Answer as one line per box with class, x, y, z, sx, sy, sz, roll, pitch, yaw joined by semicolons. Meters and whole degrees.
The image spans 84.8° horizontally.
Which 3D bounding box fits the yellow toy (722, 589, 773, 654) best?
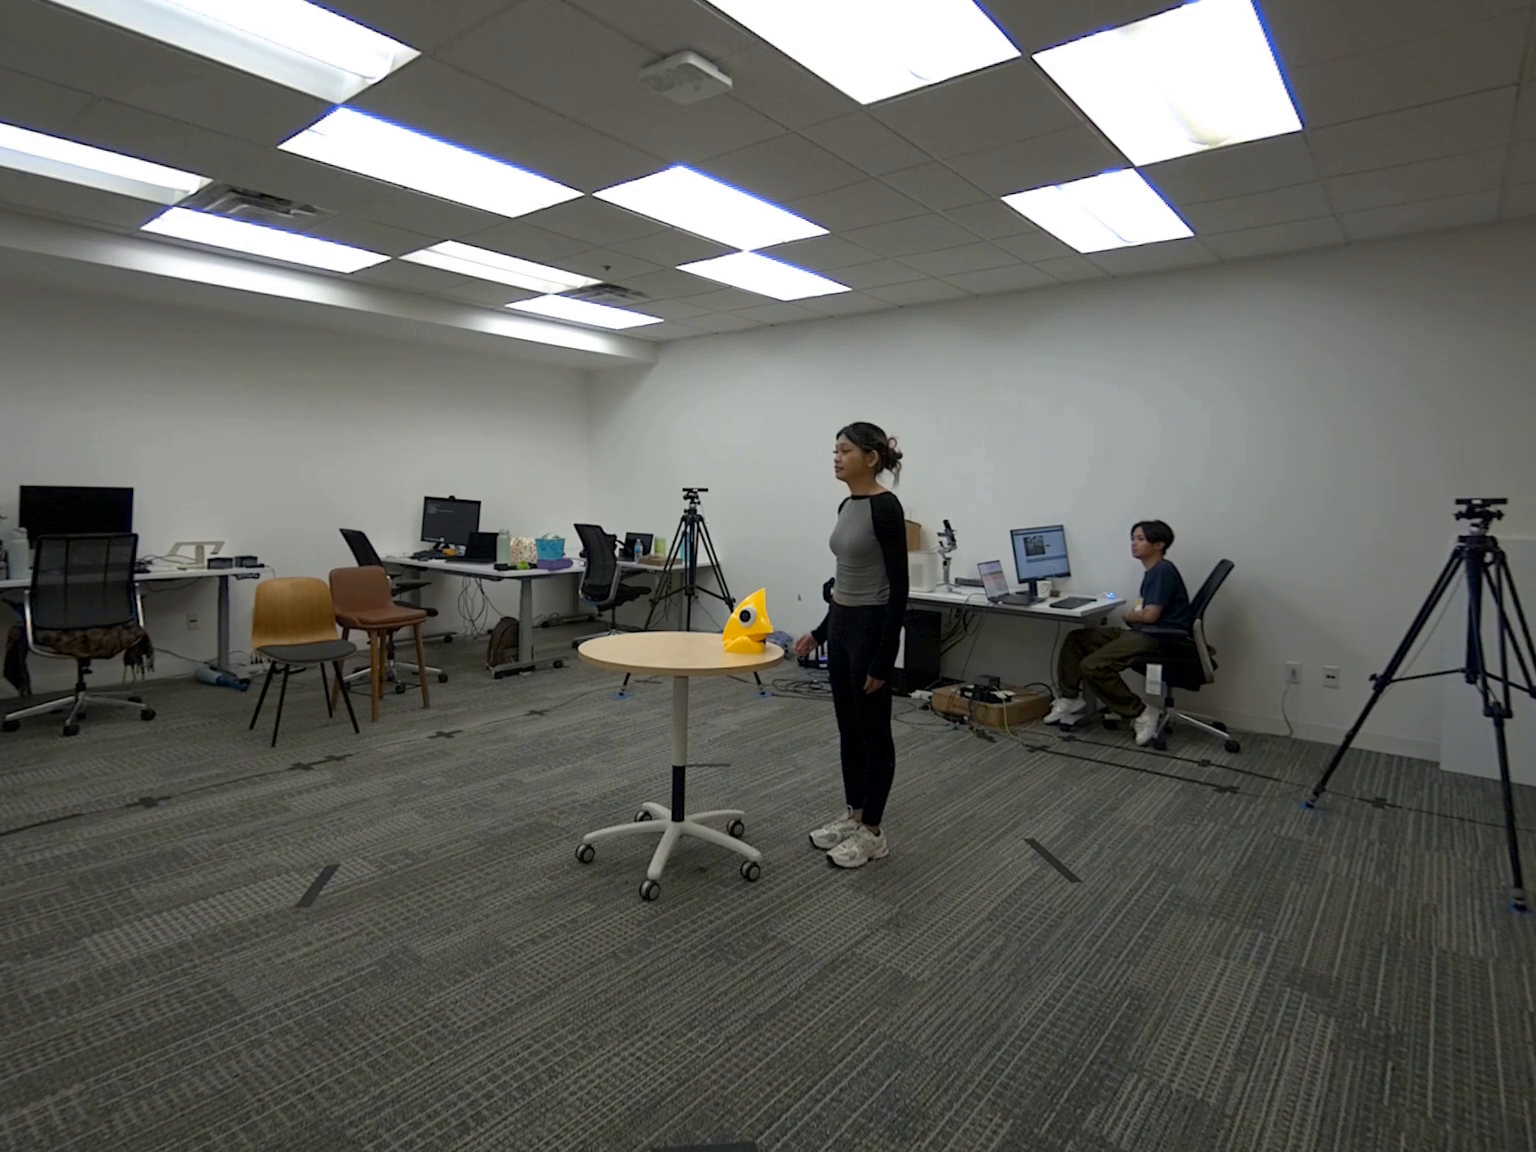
yellow toy;-0.085;0.154;3.212;0.193;0.230;0.205;1;3;-2
